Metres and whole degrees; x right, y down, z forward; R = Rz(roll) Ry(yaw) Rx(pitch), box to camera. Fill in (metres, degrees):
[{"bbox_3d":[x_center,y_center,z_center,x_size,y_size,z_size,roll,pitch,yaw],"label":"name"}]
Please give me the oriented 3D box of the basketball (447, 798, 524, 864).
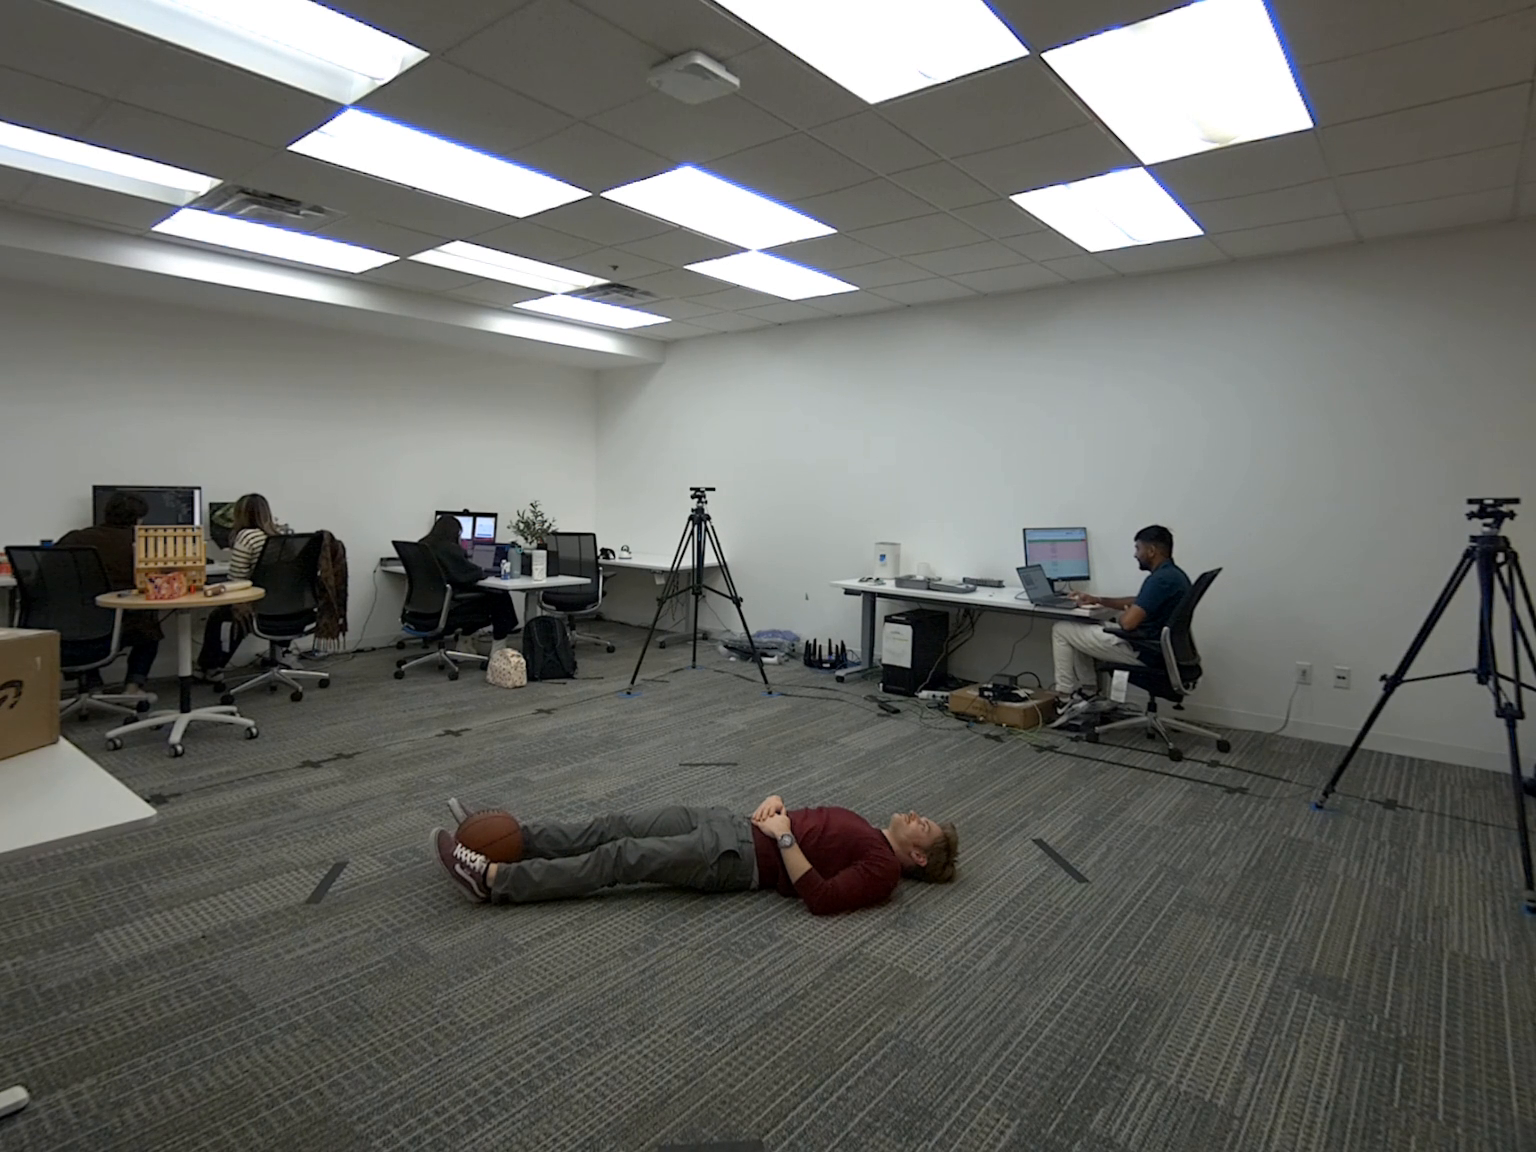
[{"bbox_3d":[-0.991,0.932,2.969,0.236,0.235,0.237,-3,3,-2],"label":"basketball"}]
